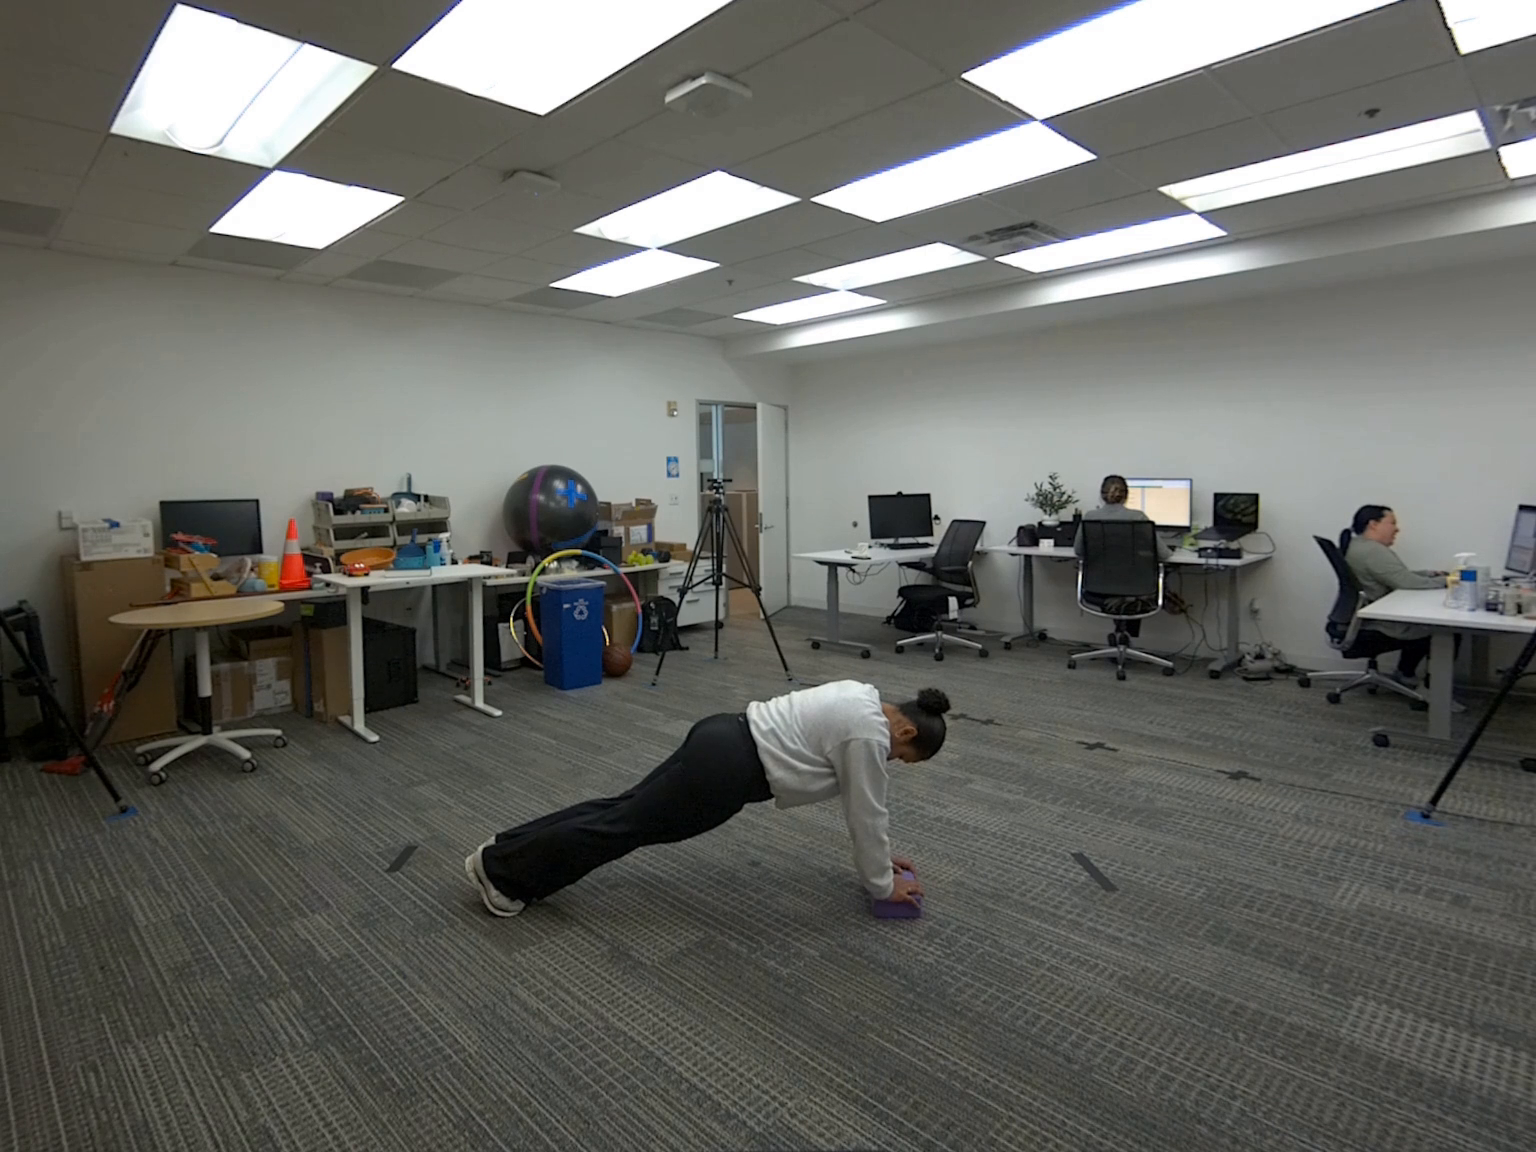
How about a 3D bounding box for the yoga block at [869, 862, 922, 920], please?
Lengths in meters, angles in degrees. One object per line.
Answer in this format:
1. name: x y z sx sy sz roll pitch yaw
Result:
1. yoga block: 0.411 1.023 2.802 0.149 0.076 0.229 2 4 1
